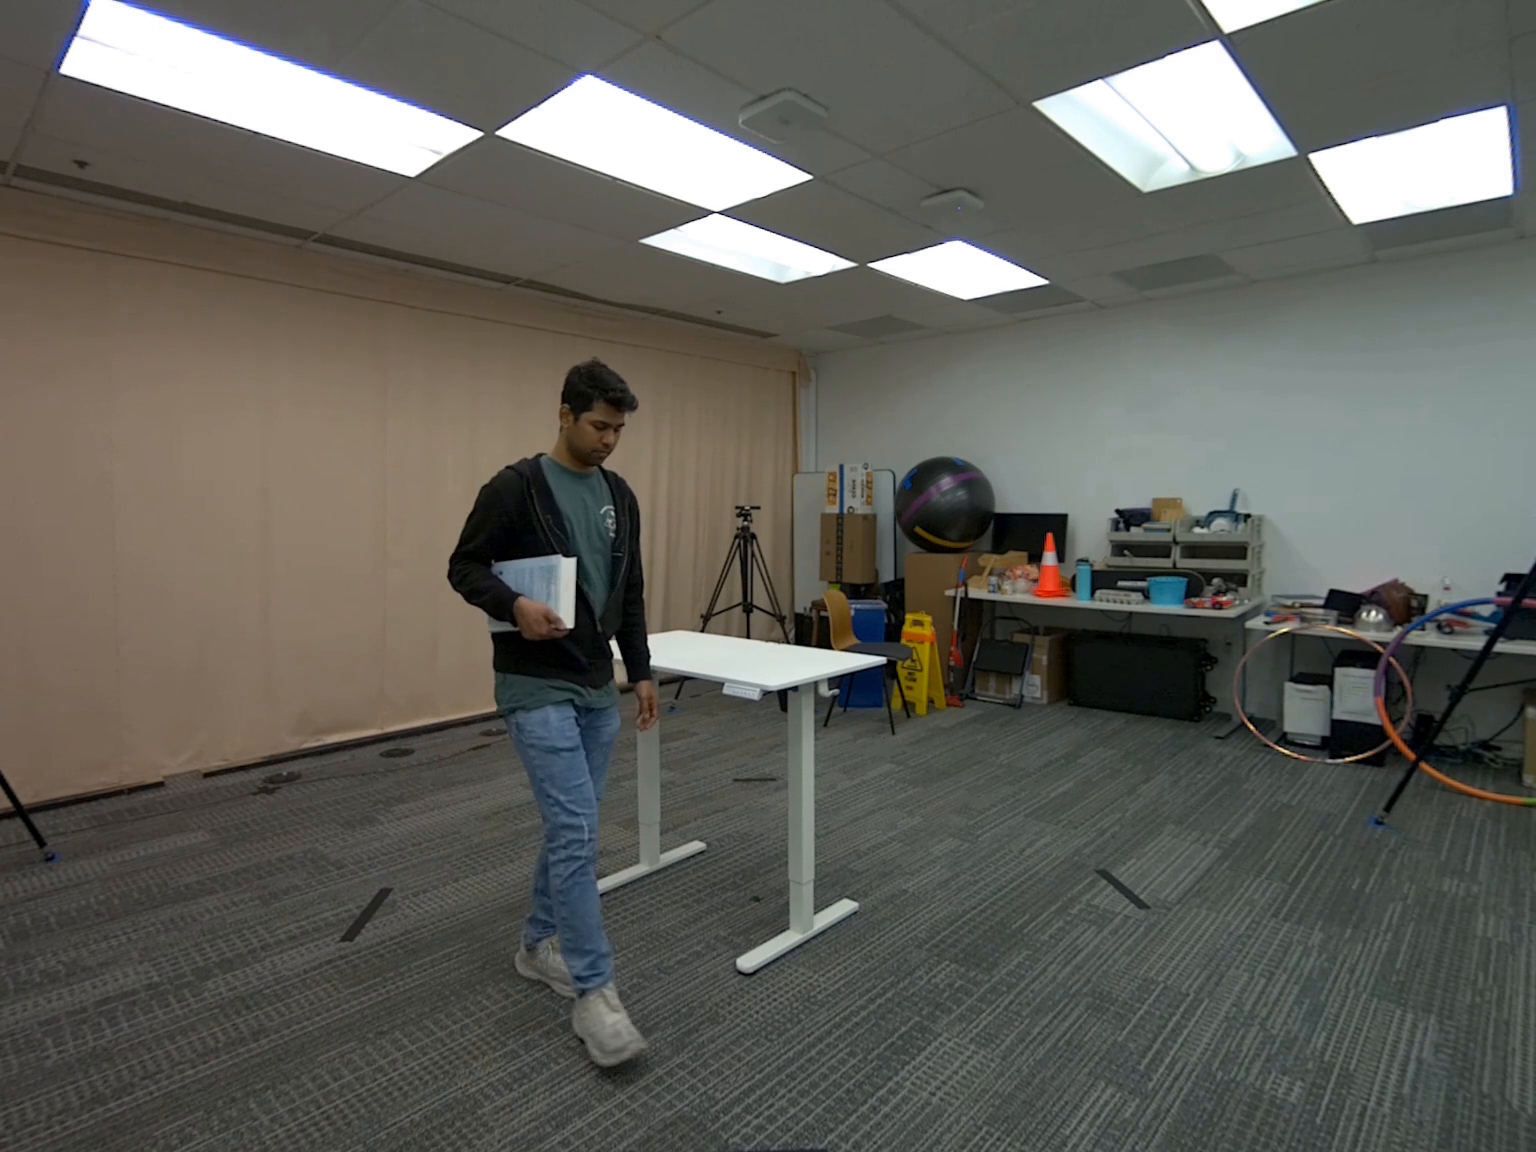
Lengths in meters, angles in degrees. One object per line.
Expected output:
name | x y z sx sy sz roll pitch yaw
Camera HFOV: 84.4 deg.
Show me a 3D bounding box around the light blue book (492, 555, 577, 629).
light blue book | -0.622 0.054 2.238 0.268 0.192 0.057 -5 -12 32
